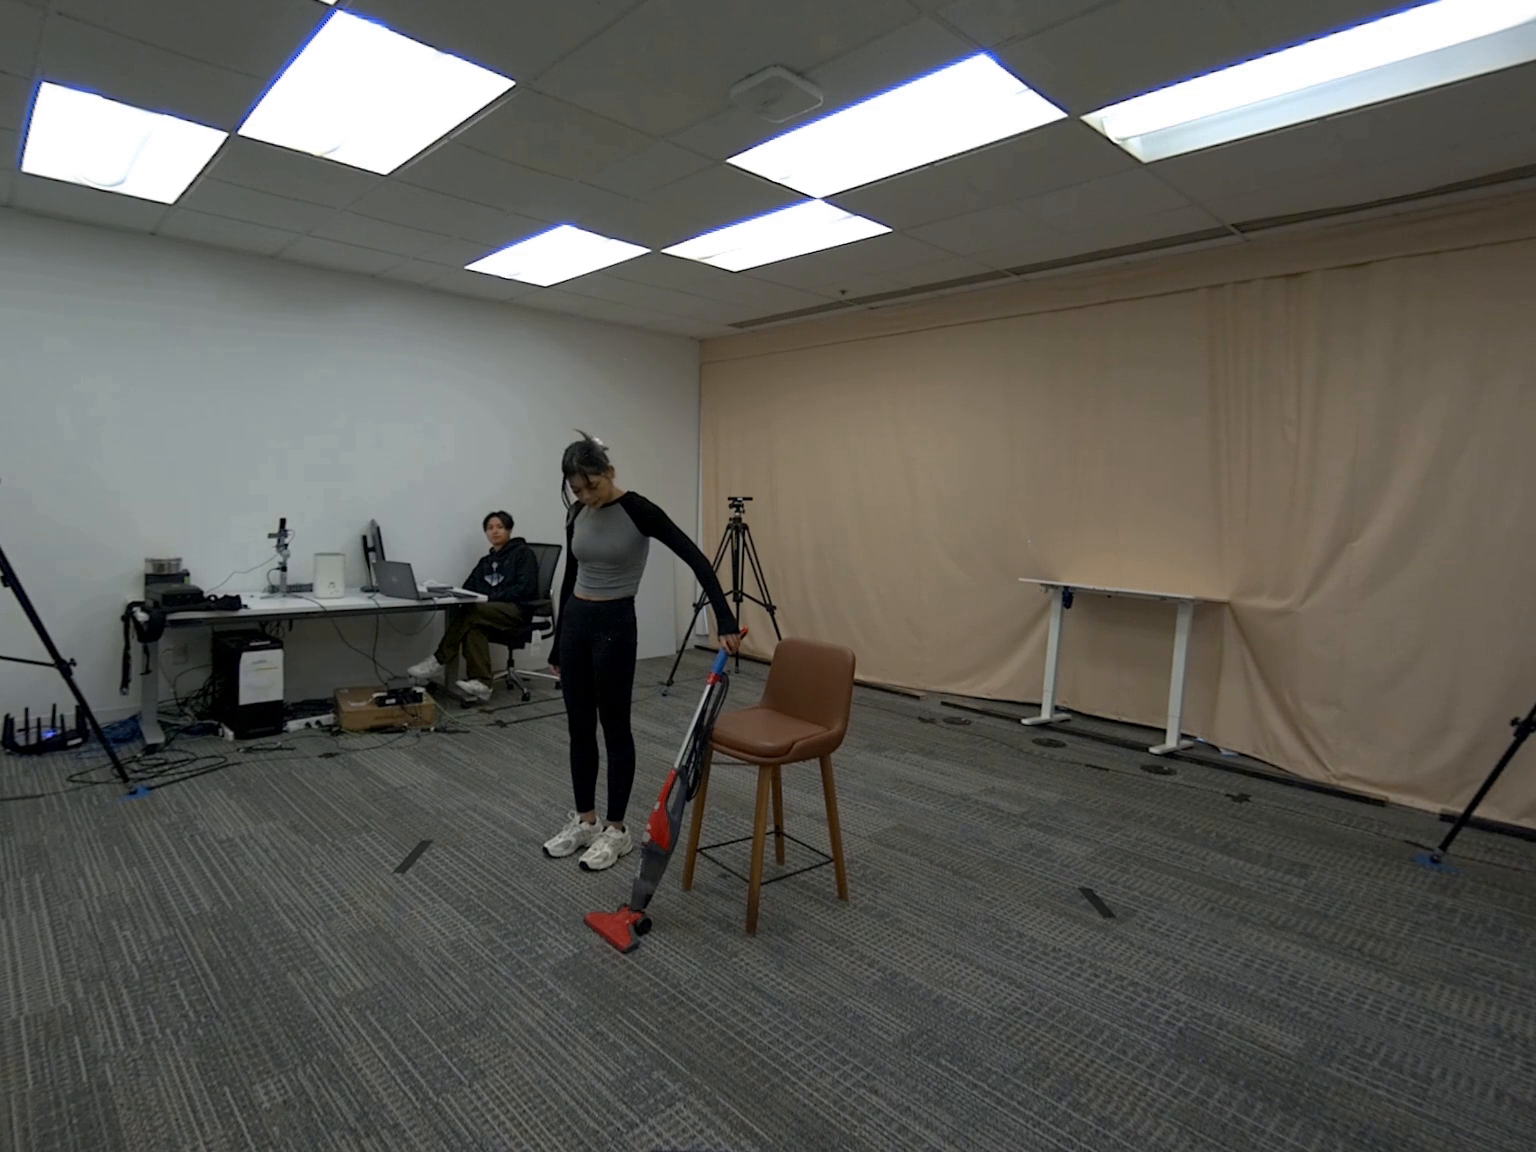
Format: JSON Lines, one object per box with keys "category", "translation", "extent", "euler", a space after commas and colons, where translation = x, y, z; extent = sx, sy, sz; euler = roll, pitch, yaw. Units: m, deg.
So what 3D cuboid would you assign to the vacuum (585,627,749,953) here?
{"category": "vacuum", "translation": [-0.284, 0.668, 2.812], "extent": [0.259, 1.055, 0.139], "euler": [7, -21, 44]}
